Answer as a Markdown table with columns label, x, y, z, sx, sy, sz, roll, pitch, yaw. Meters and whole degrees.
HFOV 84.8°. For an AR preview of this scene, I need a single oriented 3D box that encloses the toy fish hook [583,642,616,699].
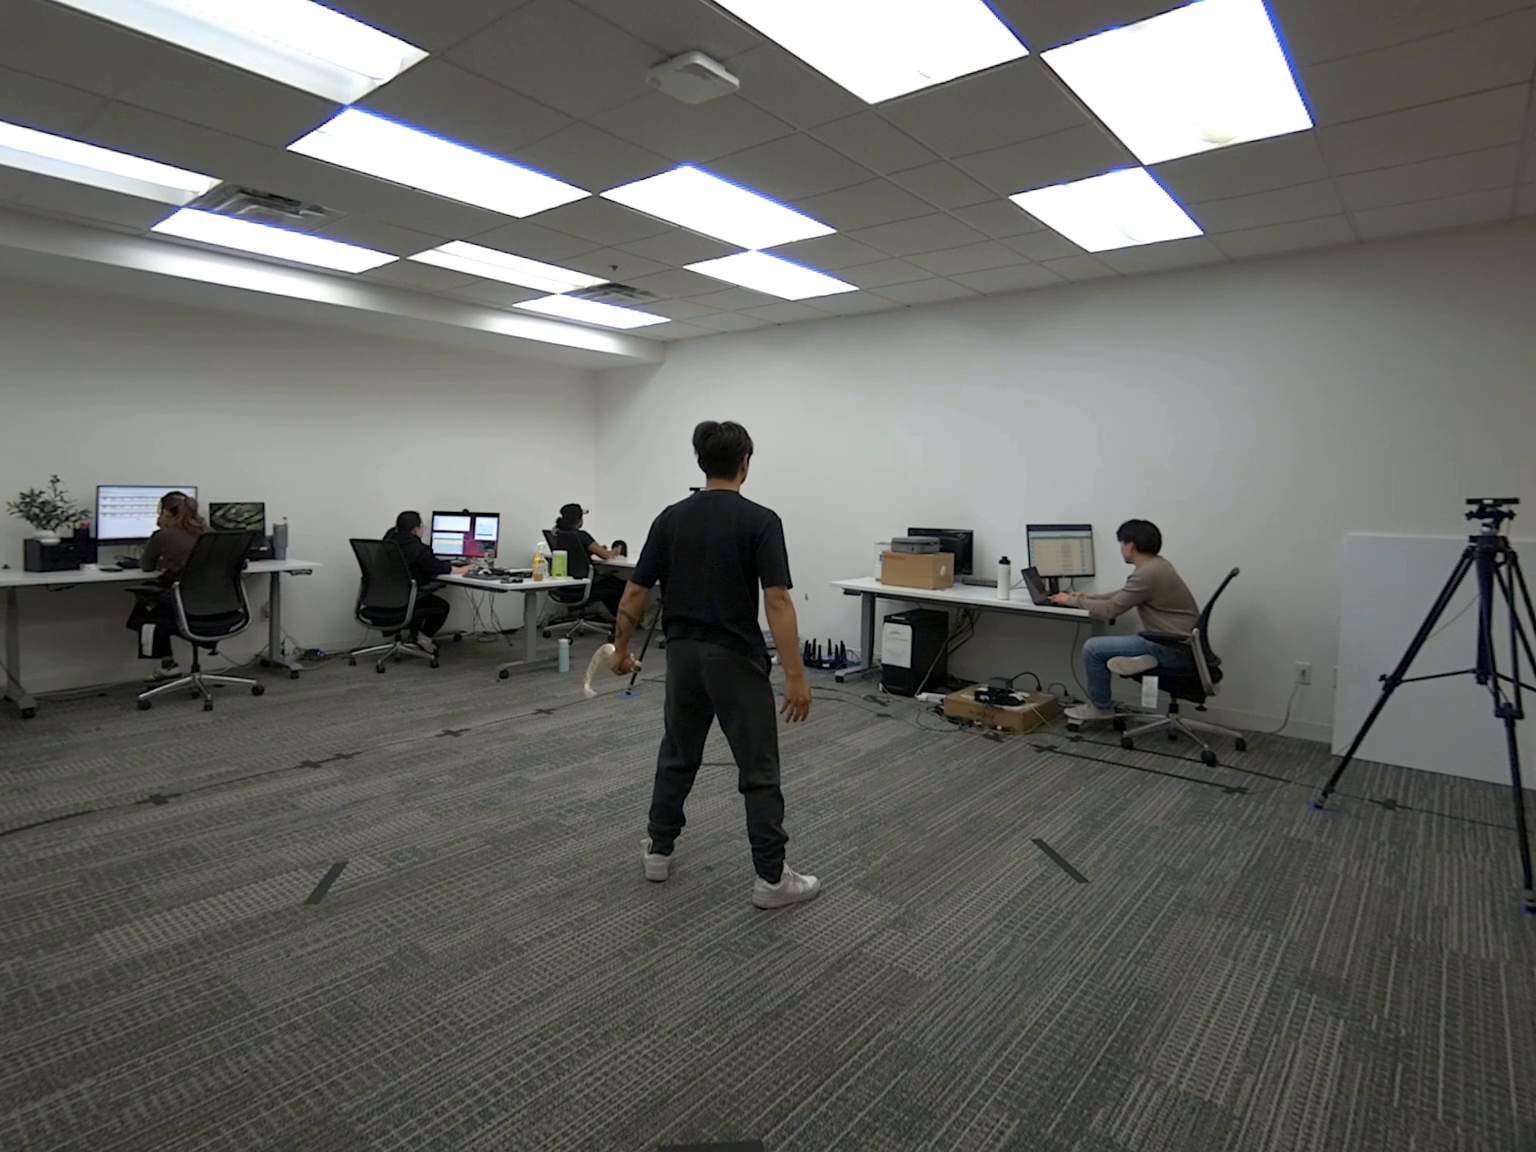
| label | x | y | z | sx | sy | sz | roll | pitch | yaw |
| --- | --- | --- | --- | --- | --- | --- | --- | --- | --- |
| toy fish hook | -0.589 | 0.358 | 3.149 | 0.047 | 0.226 | 0.518 | 25 | -10 | -23 |
